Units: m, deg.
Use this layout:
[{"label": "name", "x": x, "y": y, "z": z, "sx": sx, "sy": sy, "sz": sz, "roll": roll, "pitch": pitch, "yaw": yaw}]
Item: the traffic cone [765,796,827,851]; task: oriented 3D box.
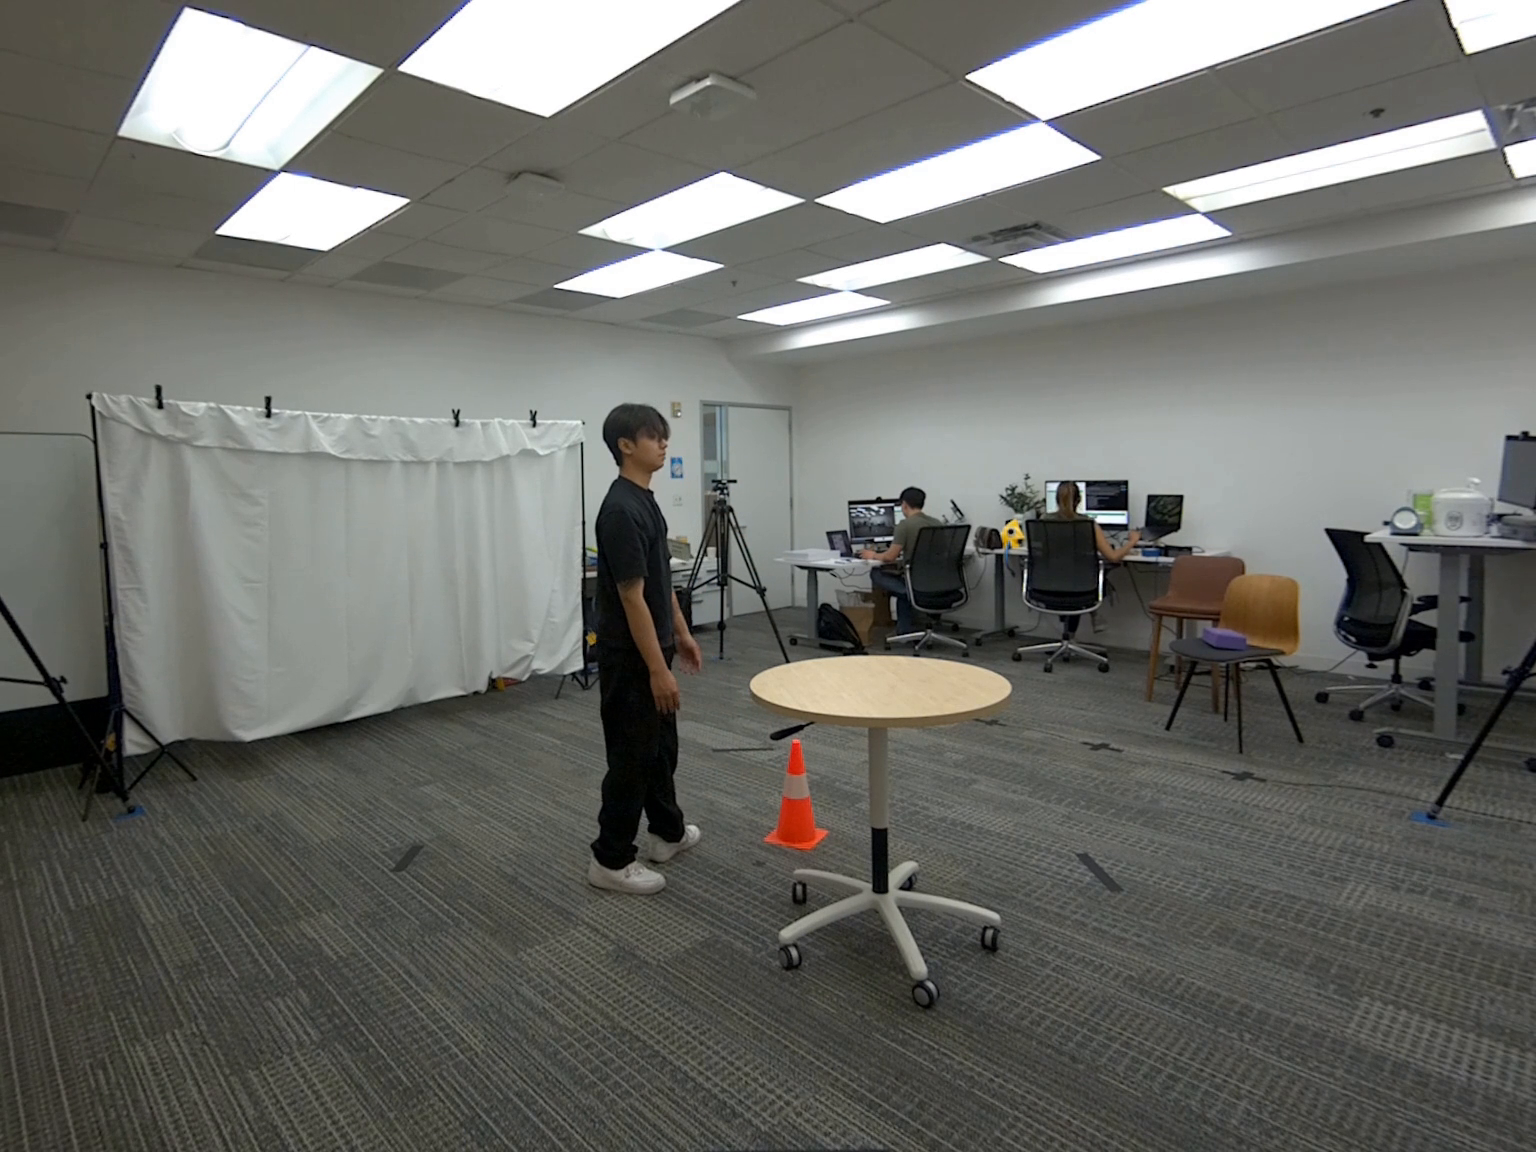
[{"label": "traffic cone", "x": 0.106, "y": 0.837, "z": 3.334, "sx": 0.208, "sy": 0.382, "sz": 0.200, "roll": 0, "pitch": 5, "yaw": 30}]
